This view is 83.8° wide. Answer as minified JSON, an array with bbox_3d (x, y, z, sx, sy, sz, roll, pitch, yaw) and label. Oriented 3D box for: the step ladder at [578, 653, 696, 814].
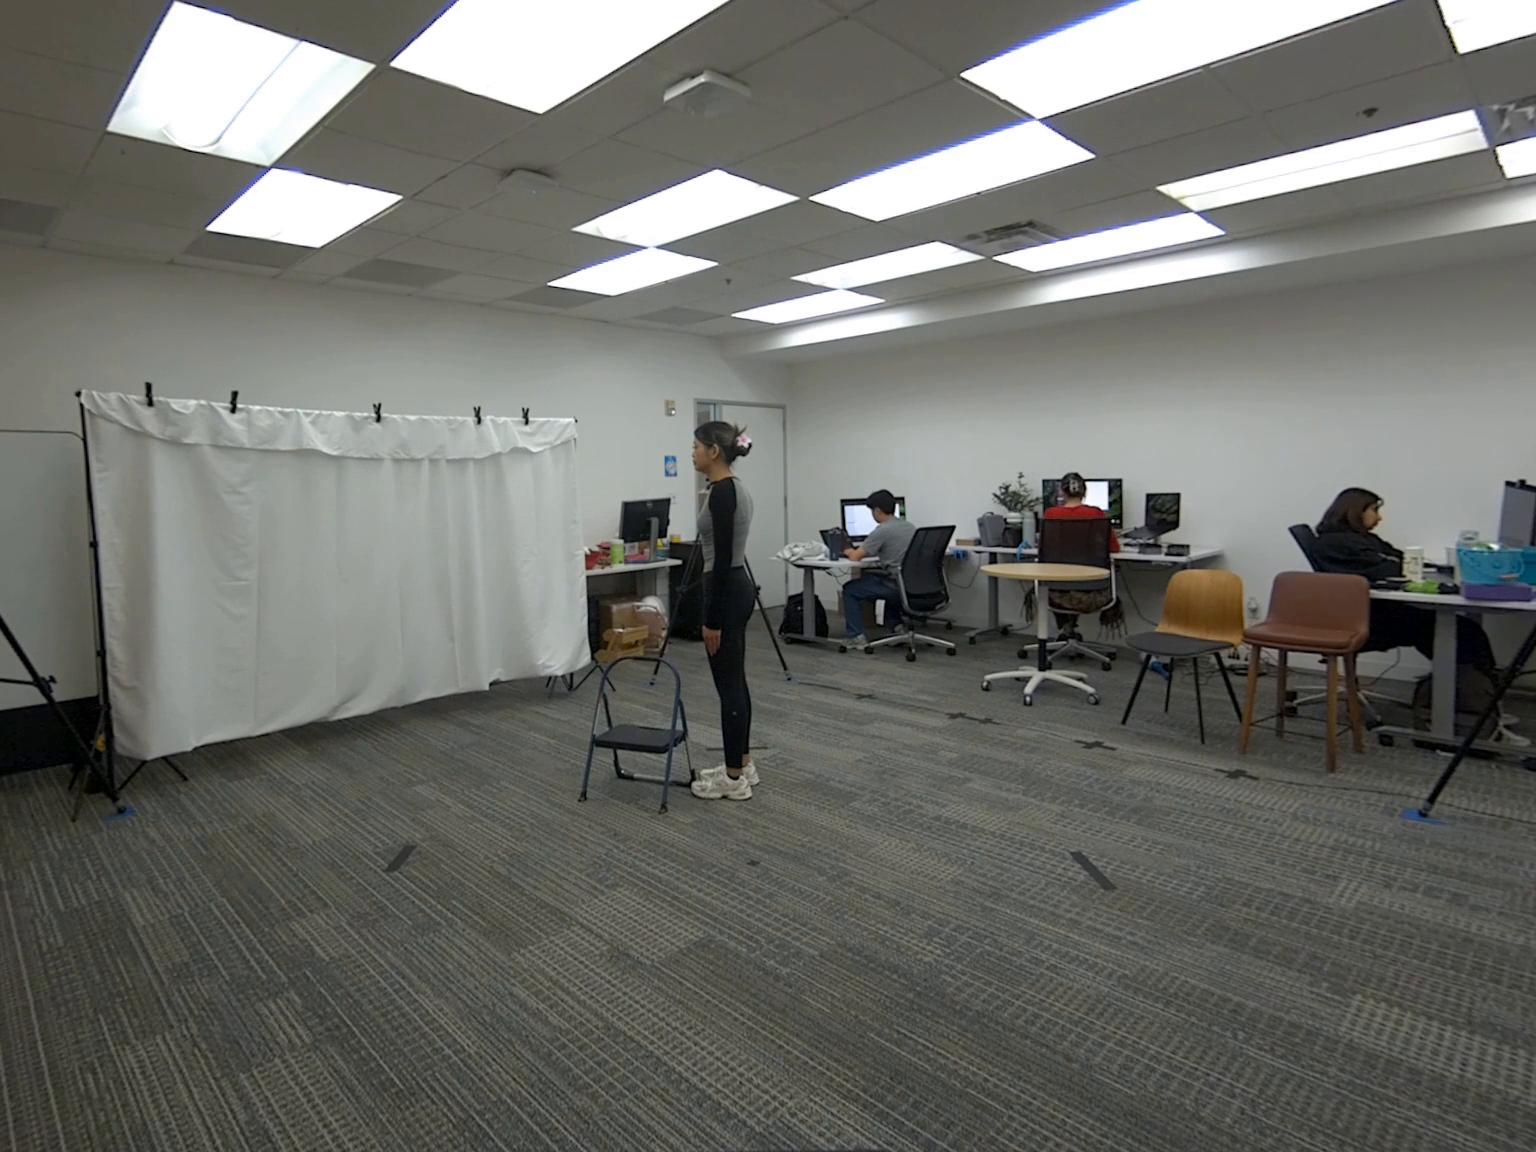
[{"bbox_3d":[-0.578,0.675,3.804,0.440,0.604,0.343,2,5,22],"label":"step ladder"}]
